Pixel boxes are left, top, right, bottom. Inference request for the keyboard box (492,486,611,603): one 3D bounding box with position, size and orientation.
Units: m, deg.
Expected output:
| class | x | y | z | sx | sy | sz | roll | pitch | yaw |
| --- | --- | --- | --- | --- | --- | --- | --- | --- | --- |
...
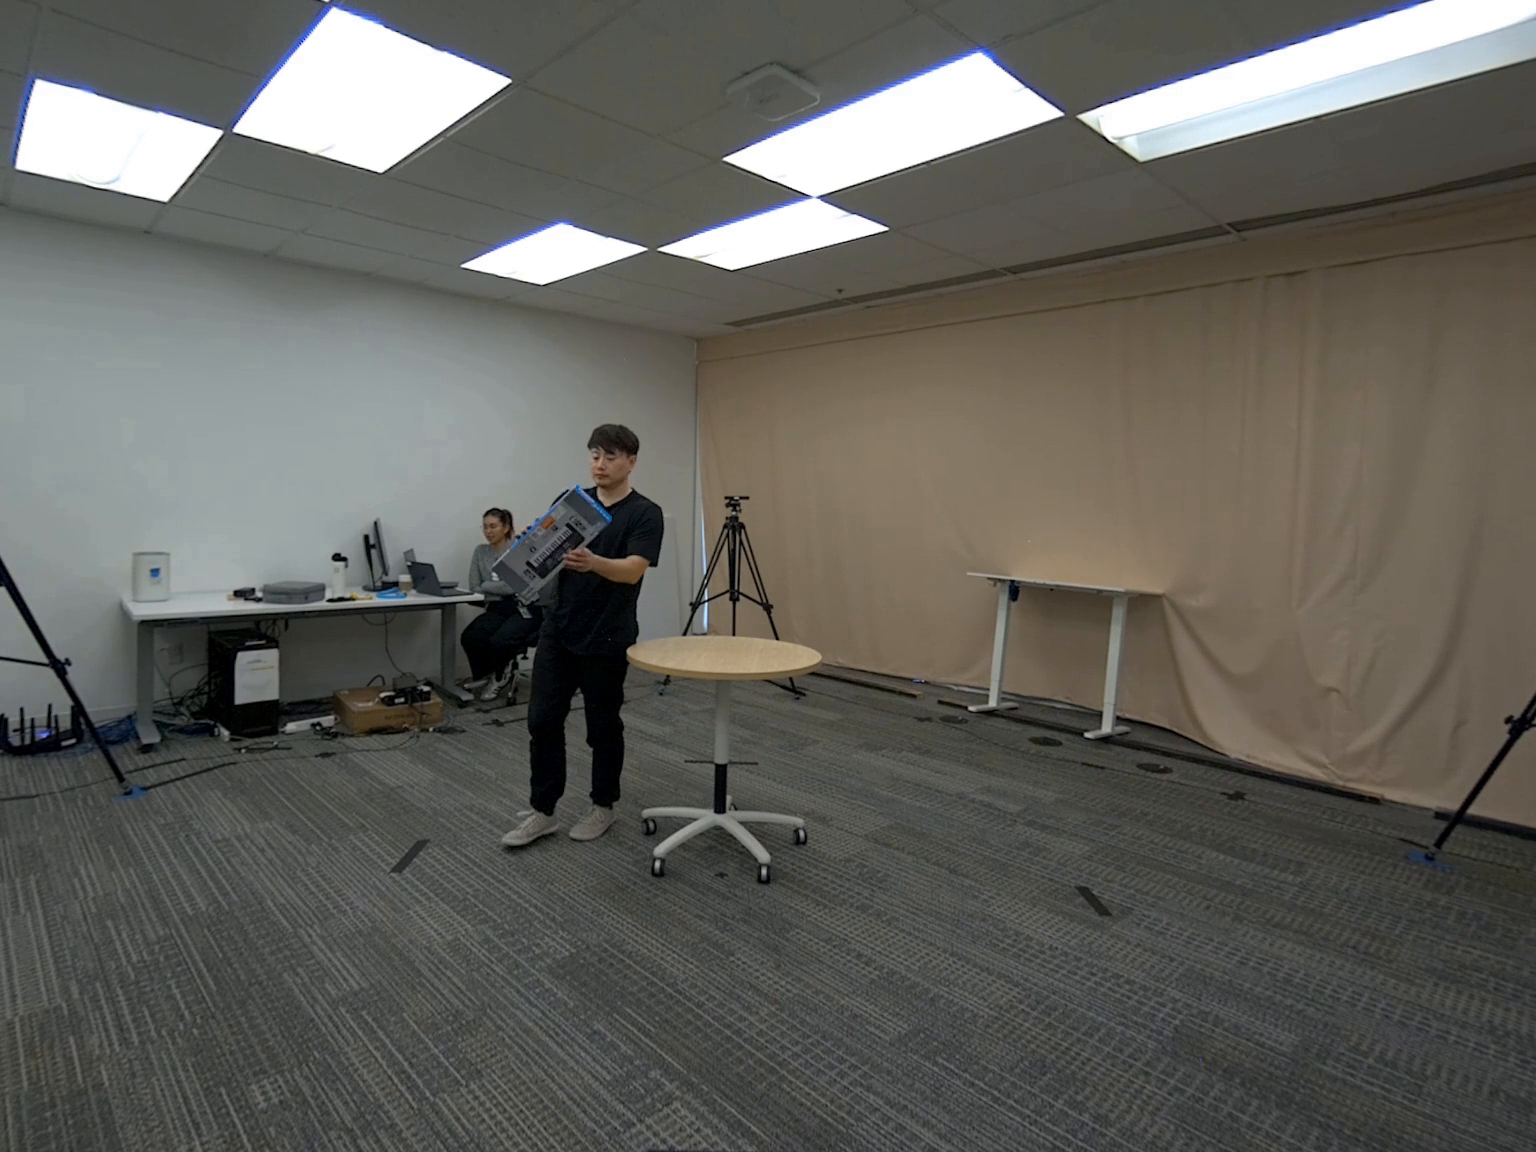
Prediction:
| class | x | y | z | sx | sy | sz | roll | pitch | yaw |
| --- | --- | --- | --- | --- | --- | --- | --- | --- | --- |
| keyboard box | -0.783 | -0.121 | 2.955 | 0.438 | 0.173 | 0.060 | -39 | 16 | 15 |
